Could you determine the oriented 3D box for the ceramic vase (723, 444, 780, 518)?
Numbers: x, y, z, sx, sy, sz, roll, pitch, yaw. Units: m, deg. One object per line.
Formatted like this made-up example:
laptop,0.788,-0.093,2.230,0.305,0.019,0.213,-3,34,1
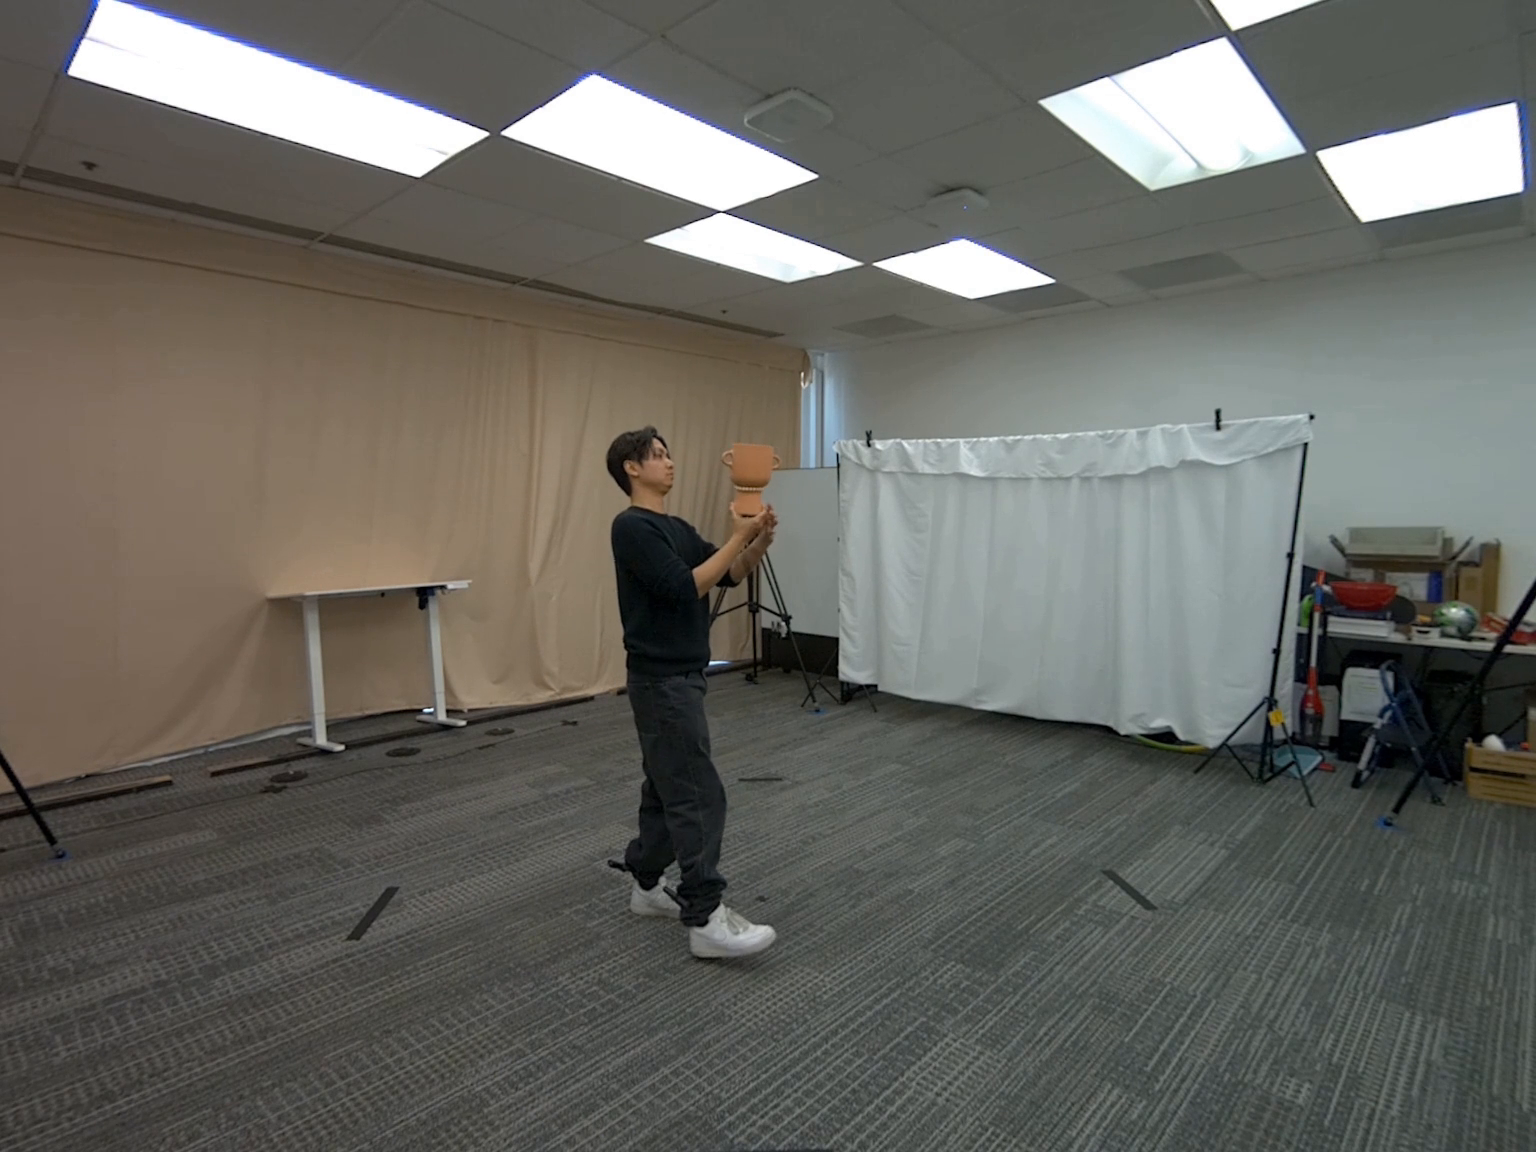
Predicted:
ceramic vase,-0.052,-0.307,2.678,0.163,0.219,0.131,5,6,24
